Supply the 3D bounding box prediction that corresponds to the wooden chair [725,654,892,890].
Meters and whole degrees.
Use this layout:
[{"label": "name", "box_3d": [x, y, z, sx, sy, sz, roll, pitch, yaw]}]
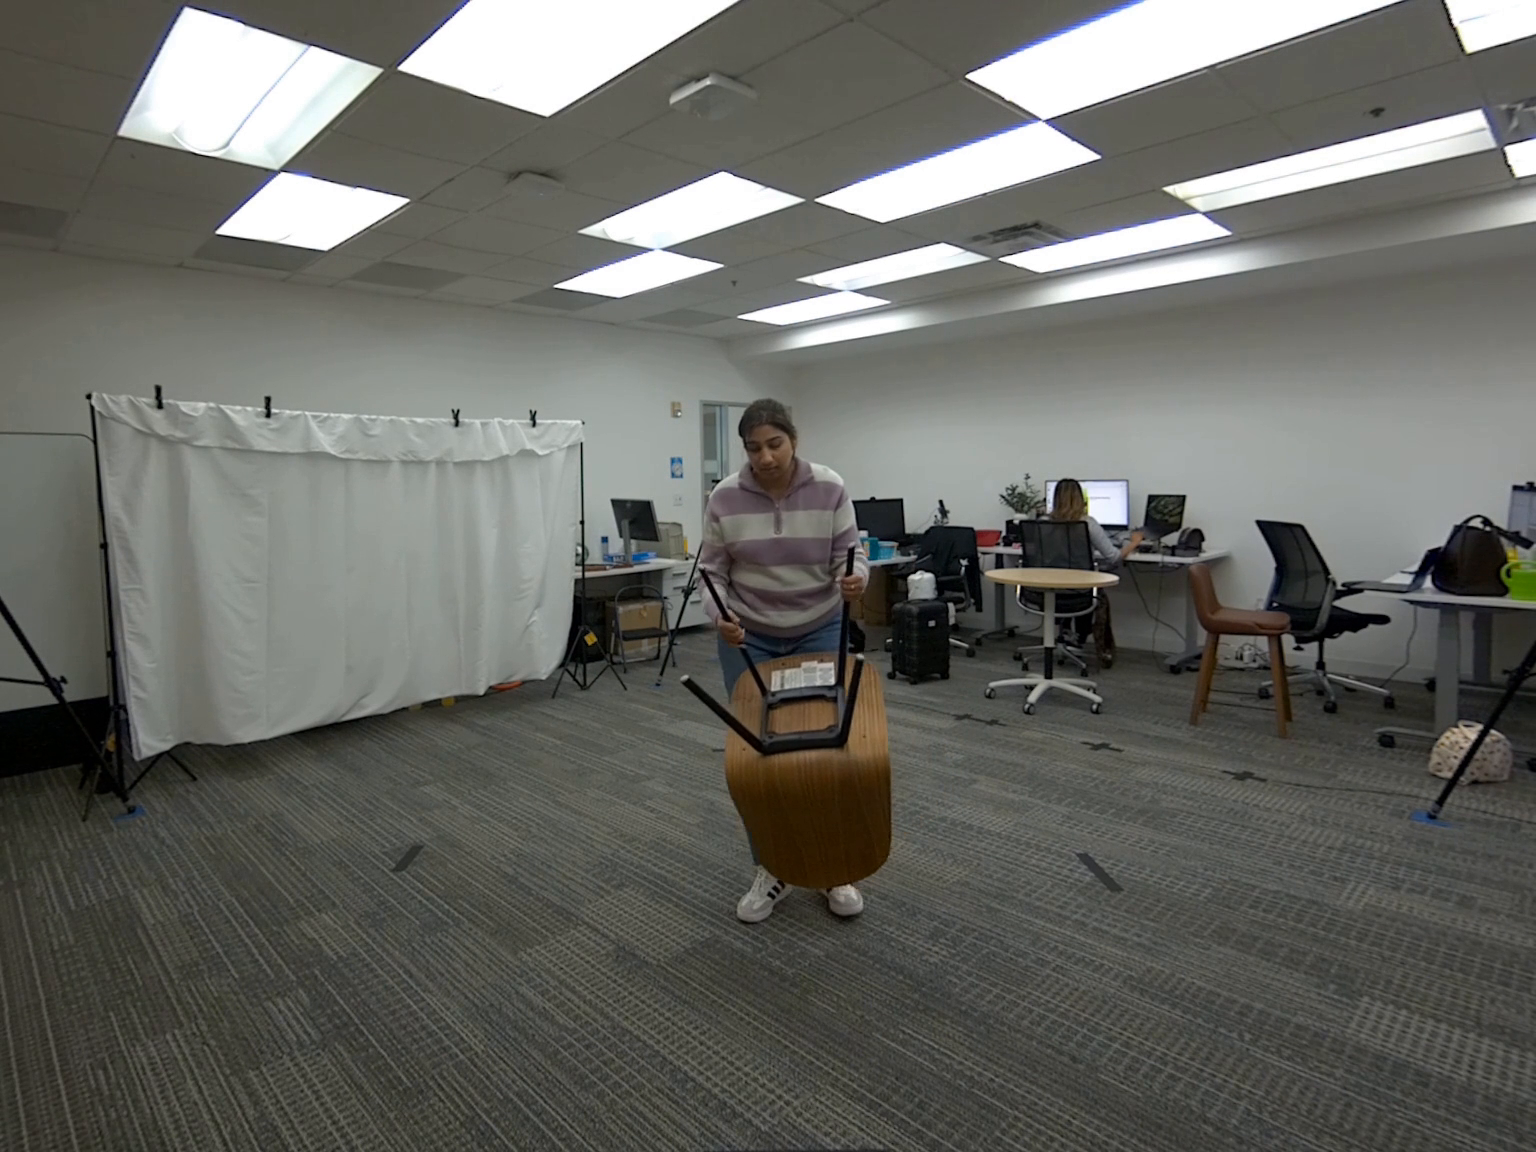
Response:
[{"label": "wooden chair", "box_3d": [0.113, 0.411, 2.476, 0.482, 0.852, 0.534, -9, 31, 9]}]
